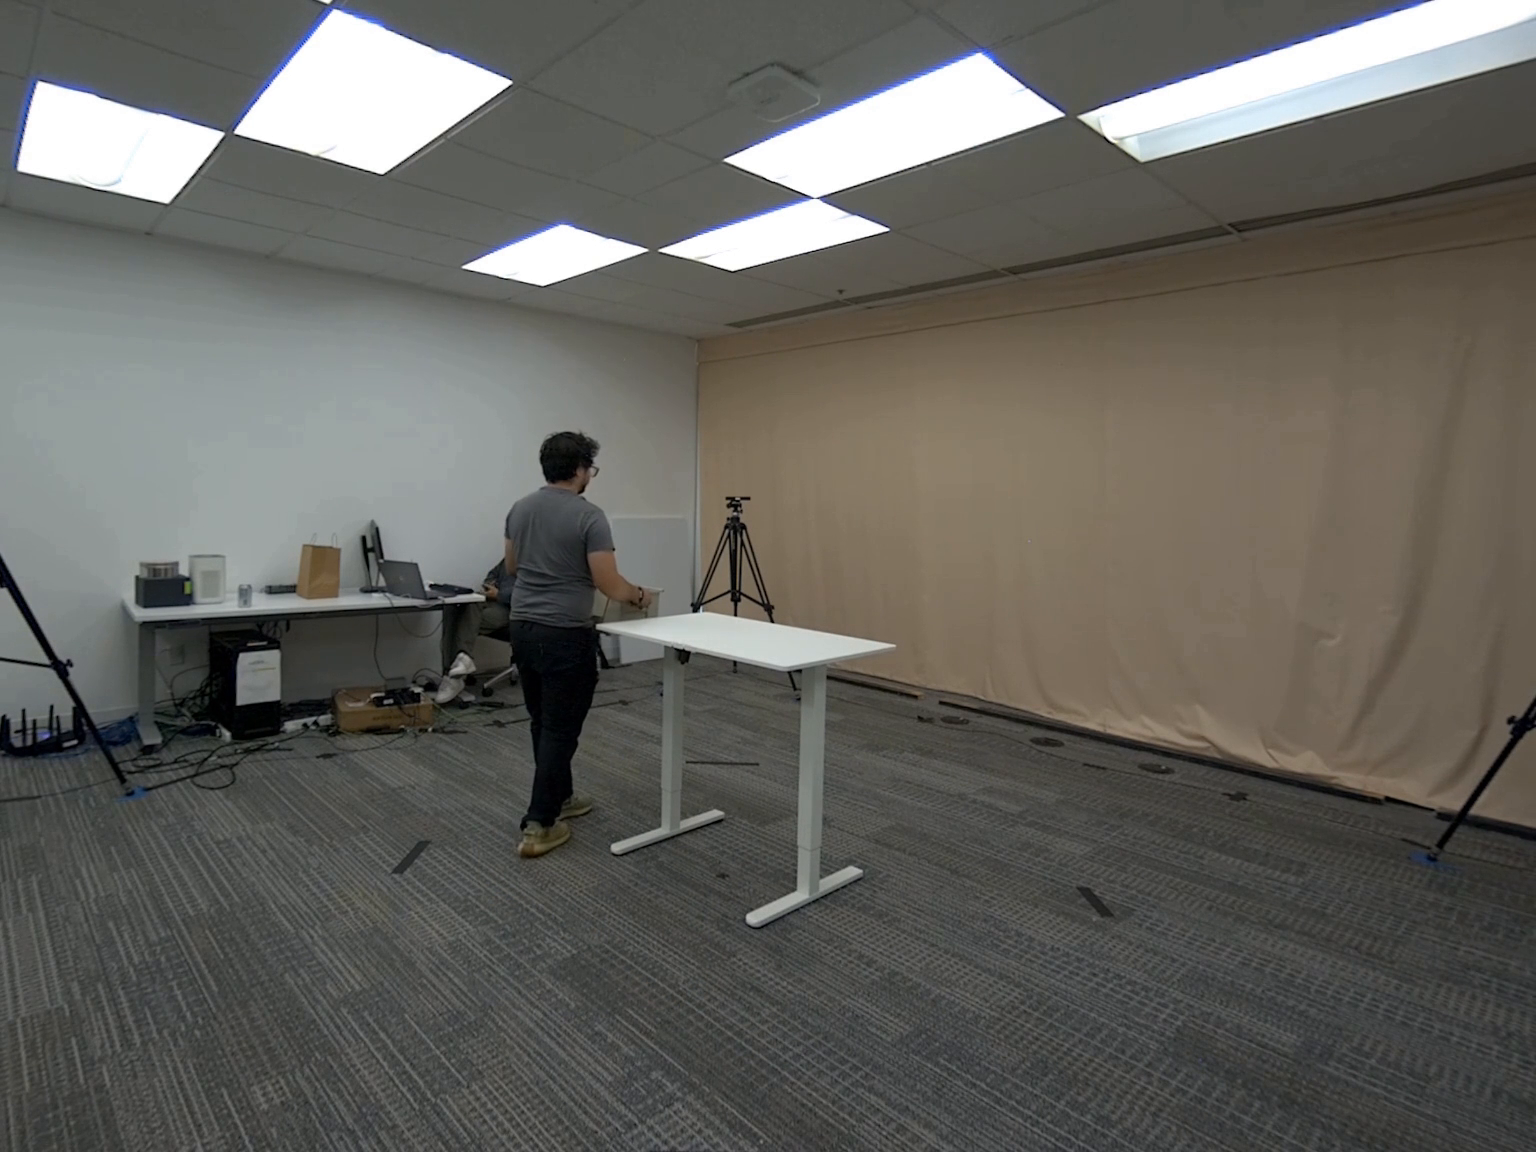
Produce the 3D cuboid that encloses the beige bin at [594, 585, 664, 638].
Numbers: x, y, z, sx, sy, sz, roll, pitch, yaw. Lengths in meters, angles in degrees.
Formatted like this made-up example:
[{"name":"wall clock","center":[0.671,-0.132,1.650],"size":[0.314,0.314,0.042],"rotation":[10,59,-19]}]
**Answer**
[{"name":"beige bin","center":[-0.749,0.133,3.708],"size":[0.432,0.189,0.369],"rotation":[5,3,34]}]
